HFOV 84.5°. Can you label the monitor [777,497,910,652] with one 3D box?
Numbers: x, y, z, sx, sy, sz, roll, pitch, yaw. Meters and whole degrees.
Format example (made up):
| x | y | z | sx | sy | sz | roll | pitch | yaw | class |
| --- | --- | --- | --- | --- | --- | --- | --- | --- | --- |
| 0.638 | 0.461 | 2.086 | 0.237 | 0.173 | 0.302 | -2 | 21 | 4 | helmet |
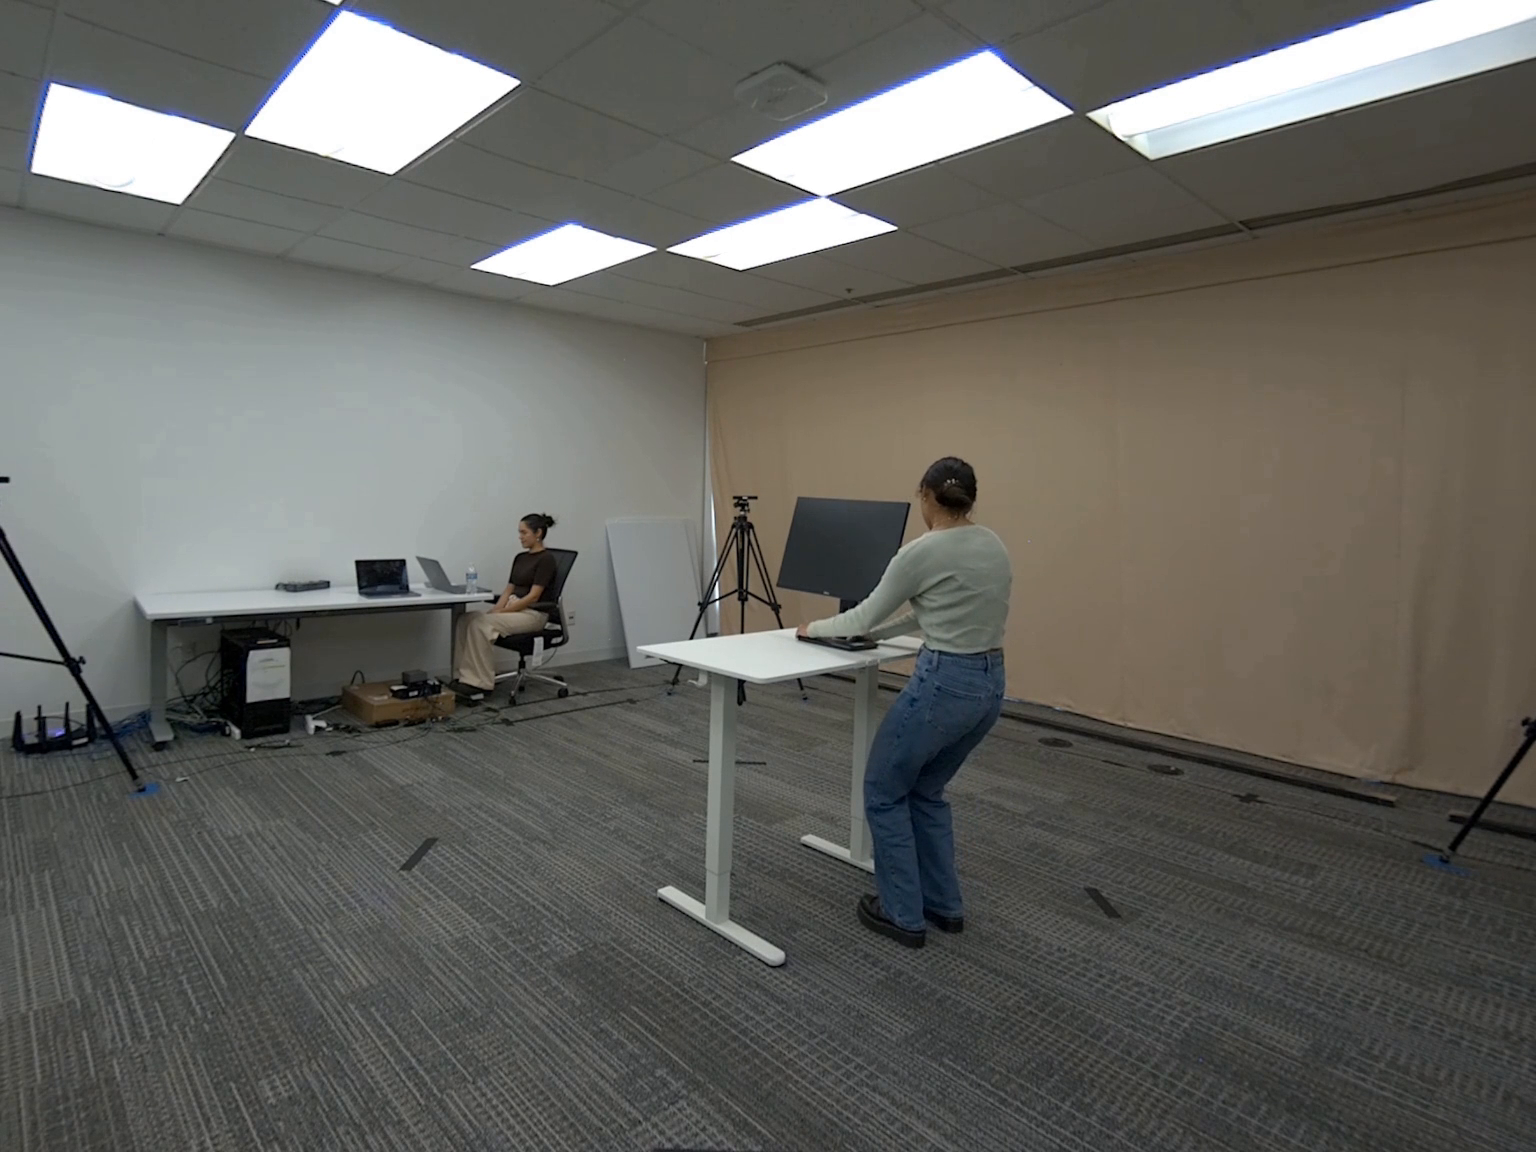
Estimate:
| x | y | z | sx | sy | sz | roll | pitch | yaw | class |
| --- | --- | --- | --- | --- | --- | --- | --- | --- | --- |
| 0.257 | -0.018 | 2.985 | 0.171 | 0.514 | 0.544 | -4 | 8 | -40 | monitor |
